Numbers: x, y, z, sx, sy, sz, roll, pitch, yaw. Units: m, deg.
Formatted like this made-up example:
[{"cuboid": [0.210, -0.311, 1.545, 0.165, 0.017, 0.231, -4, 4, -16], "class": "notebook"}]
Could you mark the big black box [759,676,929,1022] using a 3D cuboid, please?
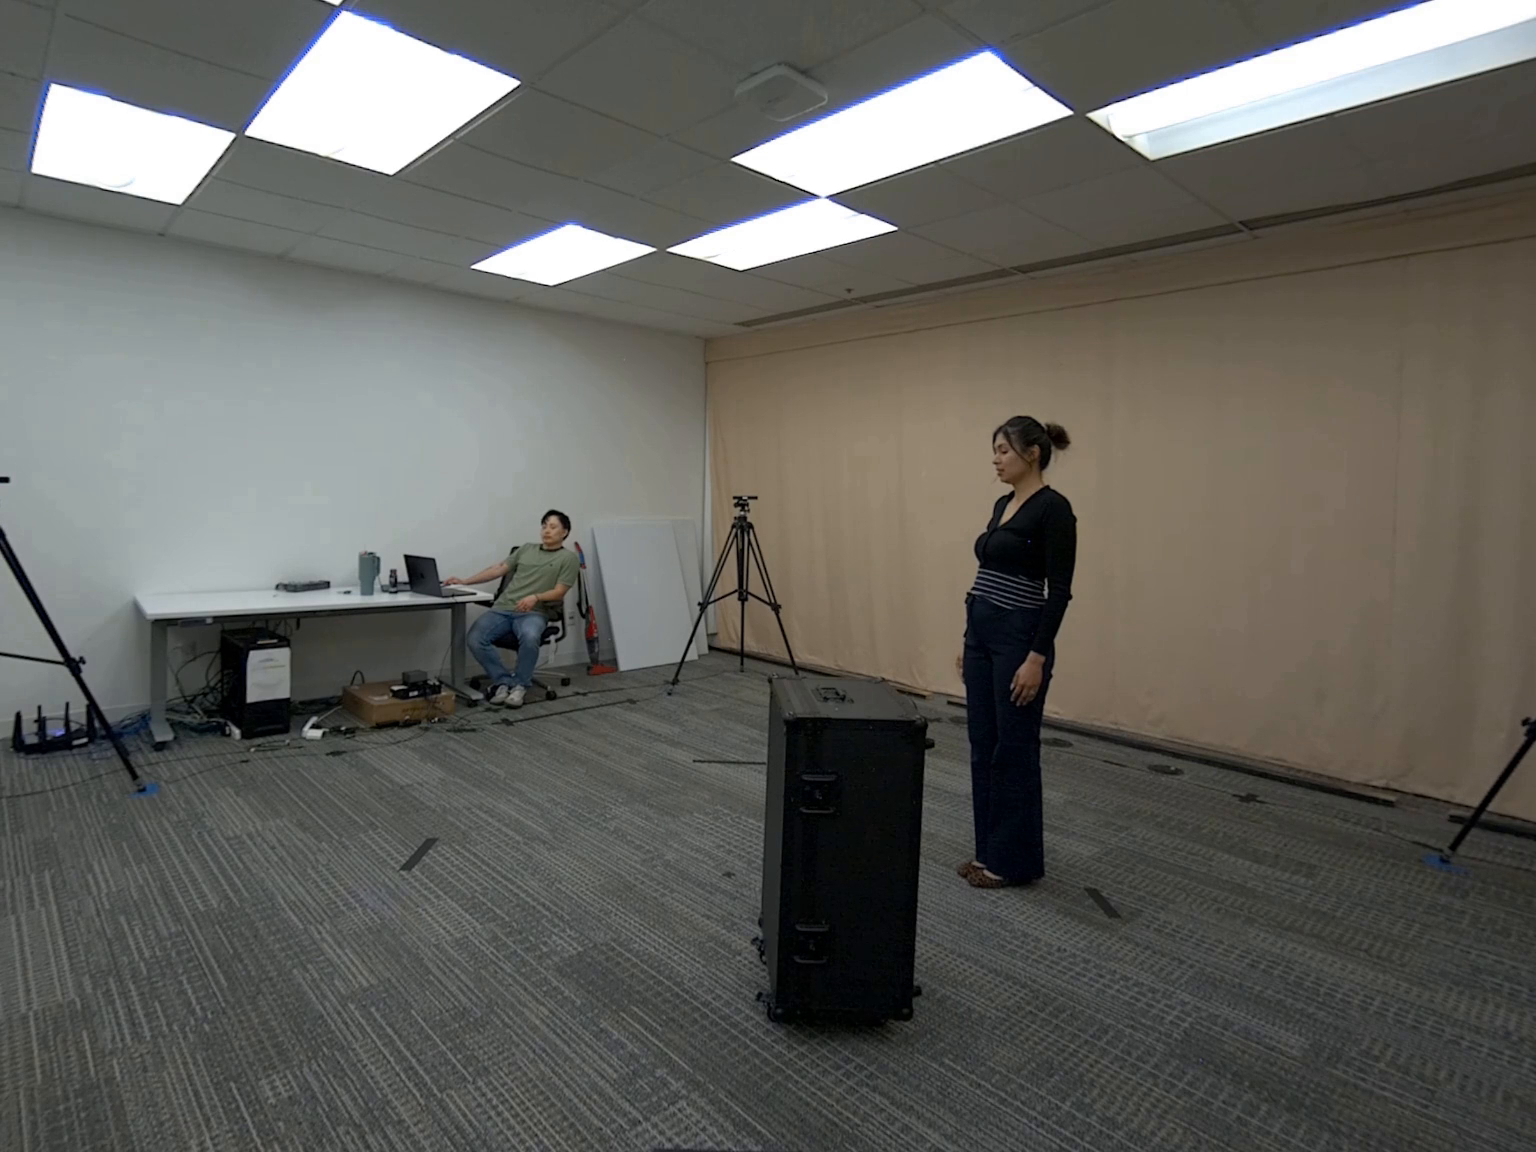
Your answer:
[{"cuboid": [0.193, 0.755, 2.358, 0.395, 0.859, 0.524, 3, 4, -3], "class": "big black box"}]
